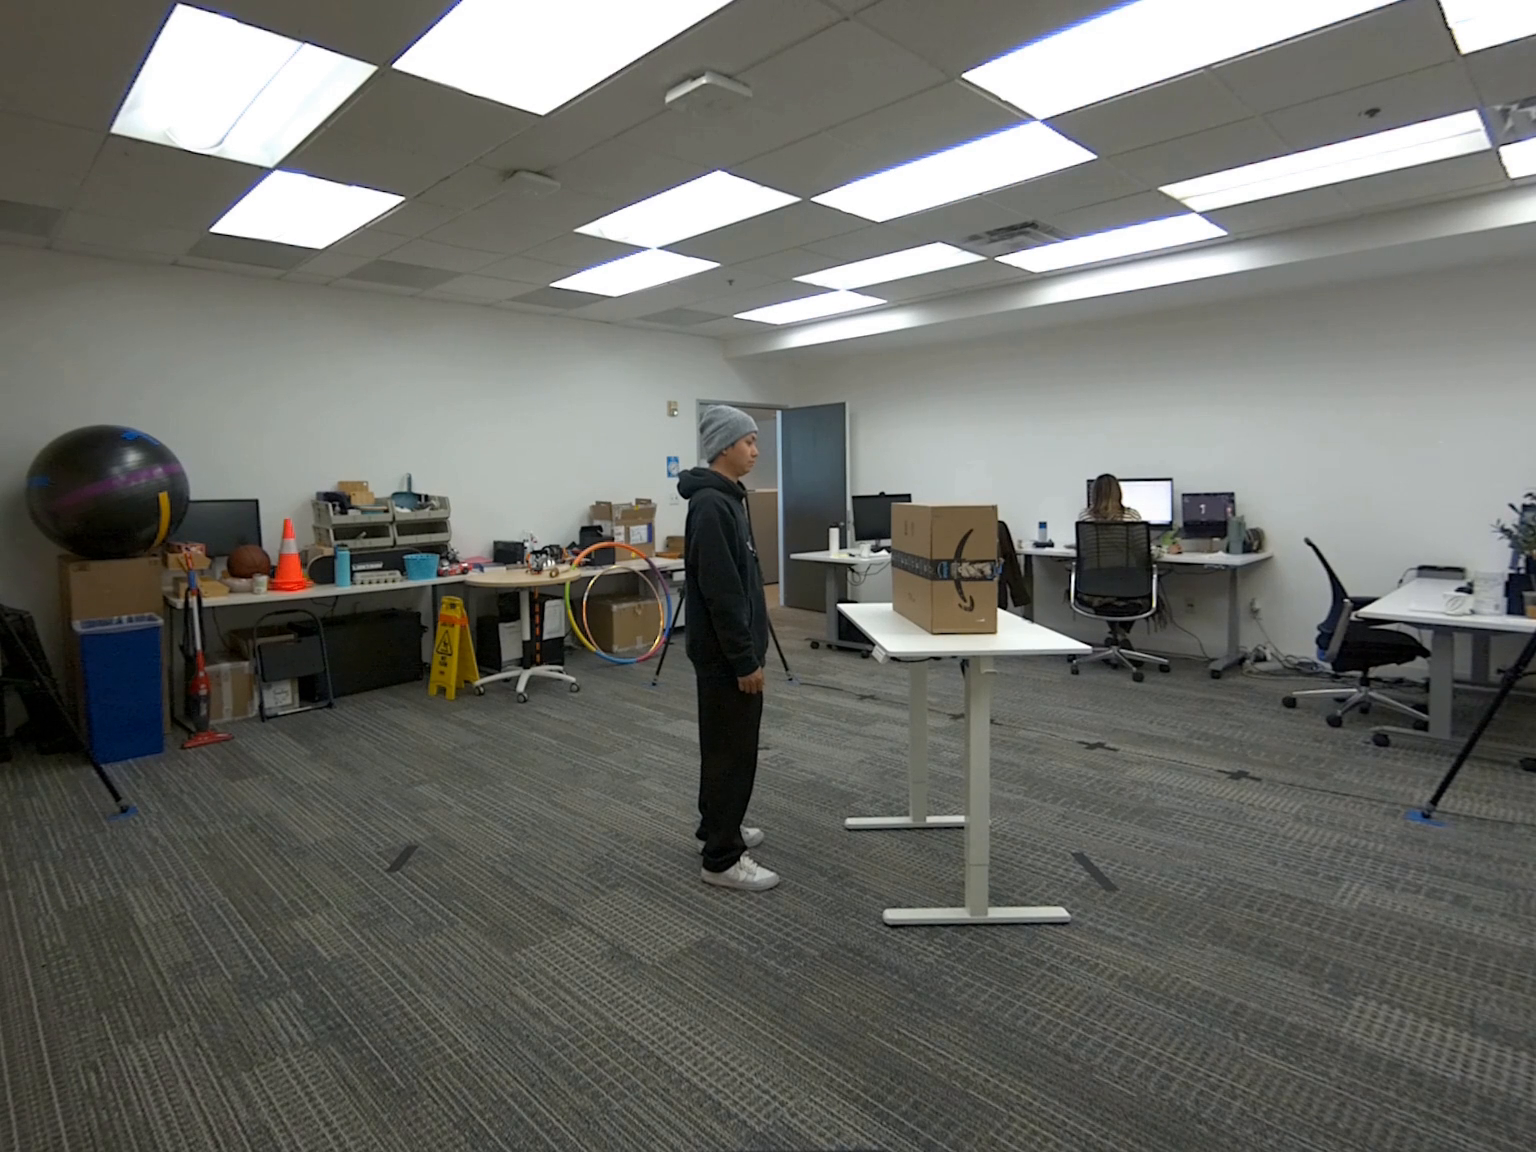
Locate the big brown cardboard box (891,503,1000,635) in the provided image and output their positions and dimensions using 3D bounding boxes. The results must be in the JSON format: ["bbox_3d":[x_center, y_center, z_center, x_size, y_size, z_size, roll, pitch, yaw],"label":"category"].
[{"bbox_3d":[0.606,-0.049,3.018,0.232,0.416,0.593,0,5,-5],"label":"big brown cardboard box"}]
